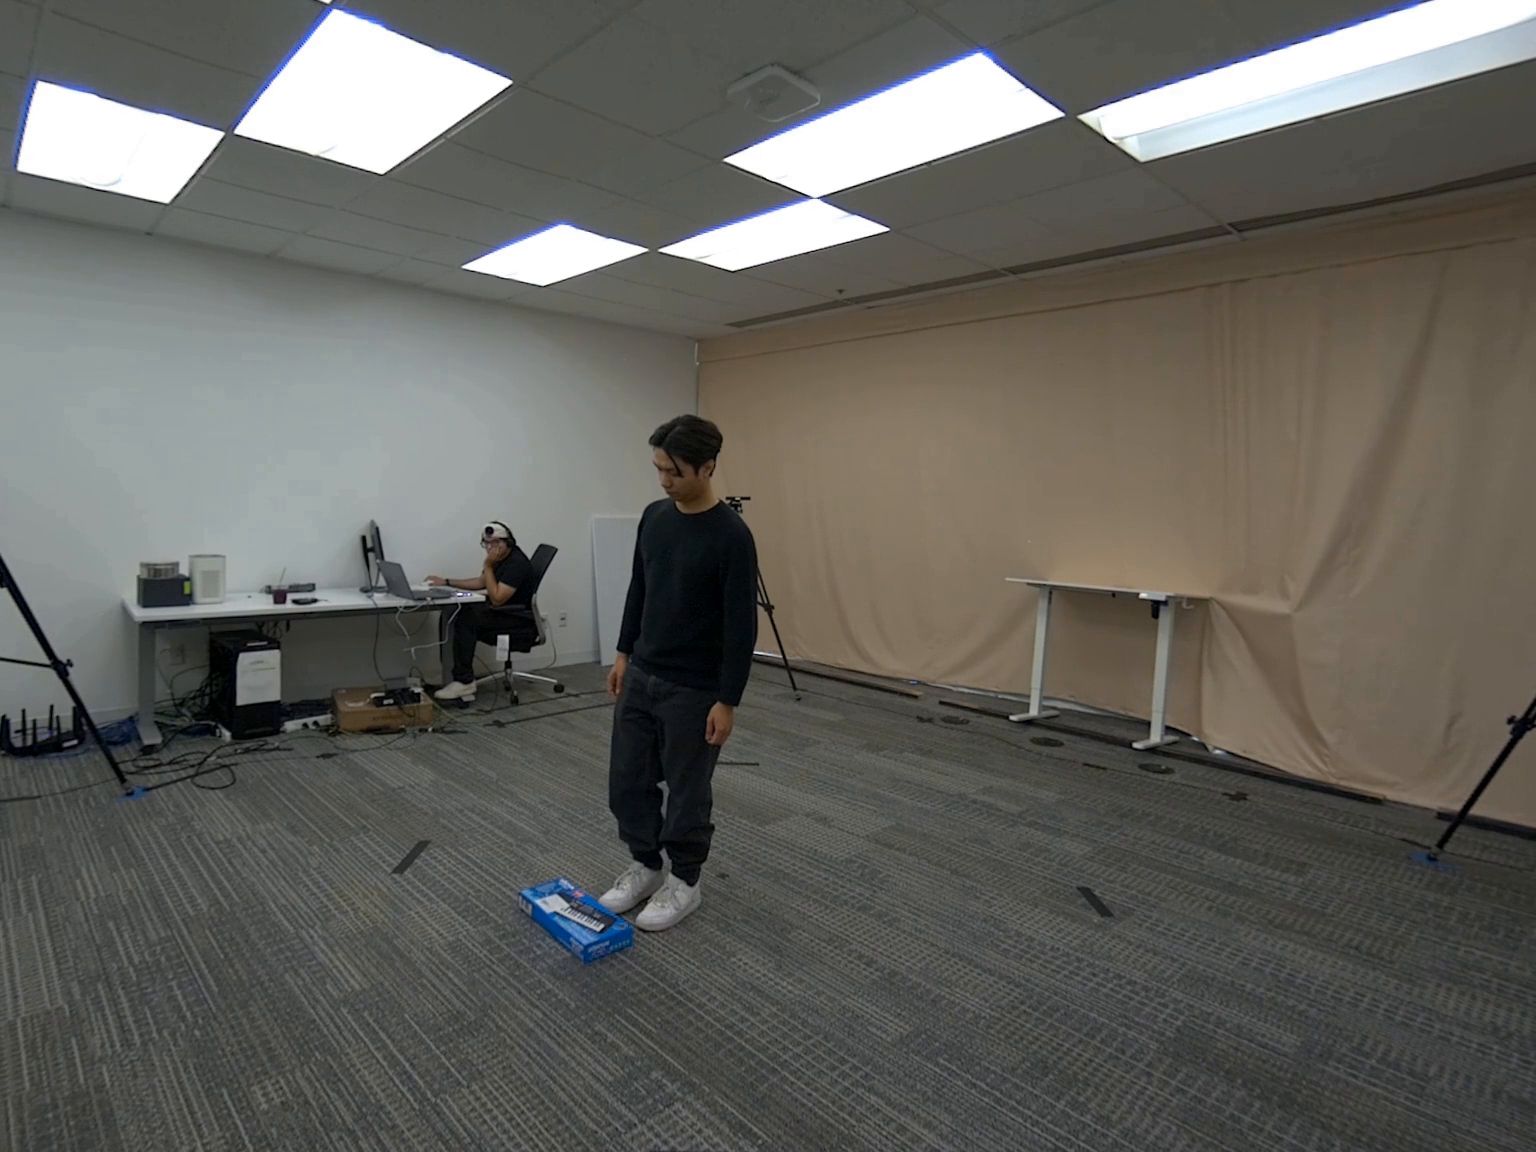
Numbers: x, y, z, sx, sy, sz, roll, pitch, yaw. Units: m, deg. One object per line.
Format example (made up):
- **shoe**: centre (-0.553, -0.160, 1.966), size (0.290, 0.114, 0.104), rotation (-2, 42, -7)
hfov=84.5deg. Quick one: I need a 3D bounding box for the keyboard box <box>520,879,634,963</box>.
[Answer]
- **keyboard box**: centre (-0.637, 1.103, 2.705), size (0.172, 0.059, 0.448), rotation (-4, 8, -41)
